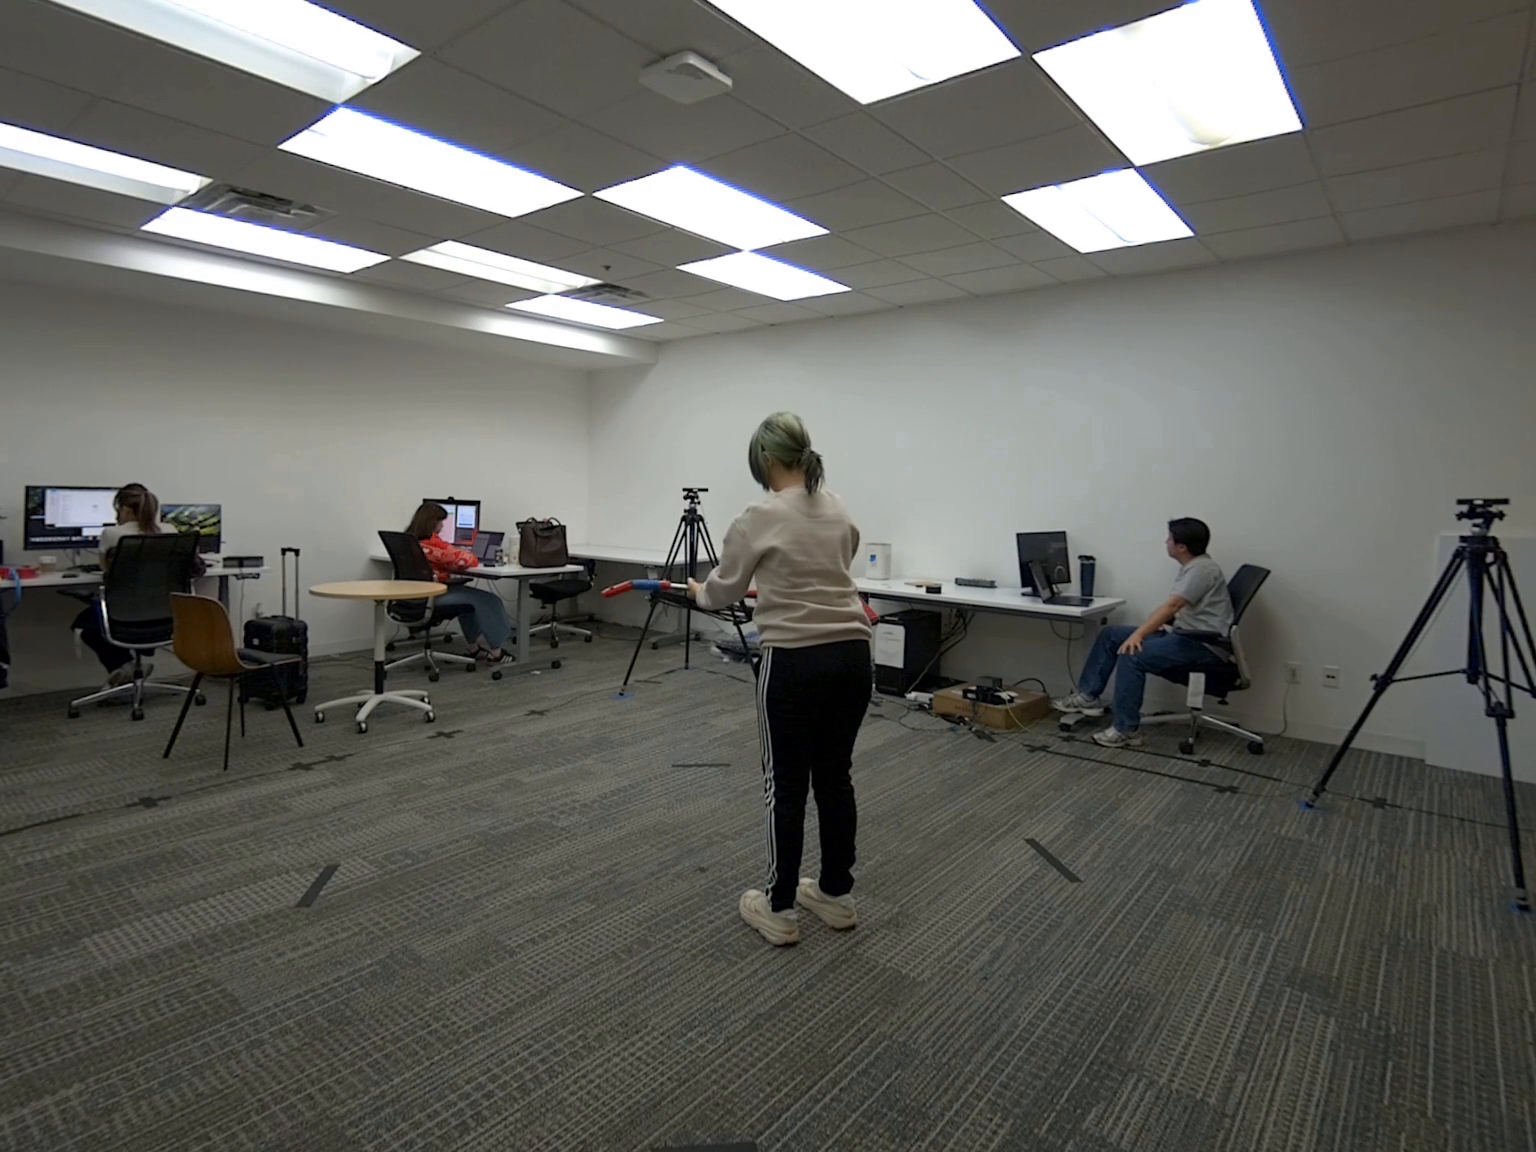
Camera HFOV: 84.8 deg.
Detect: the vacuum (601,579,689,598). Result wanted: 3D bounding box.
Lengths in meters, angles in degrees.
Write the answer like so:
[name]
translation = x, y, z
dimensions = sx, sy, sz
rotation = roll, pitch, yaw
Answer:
[vacuum]
translation = -0.101, 0.106, 3.196
dimensions = 1.020, 0.142, 0.263
rotation = 5, 23, -27
